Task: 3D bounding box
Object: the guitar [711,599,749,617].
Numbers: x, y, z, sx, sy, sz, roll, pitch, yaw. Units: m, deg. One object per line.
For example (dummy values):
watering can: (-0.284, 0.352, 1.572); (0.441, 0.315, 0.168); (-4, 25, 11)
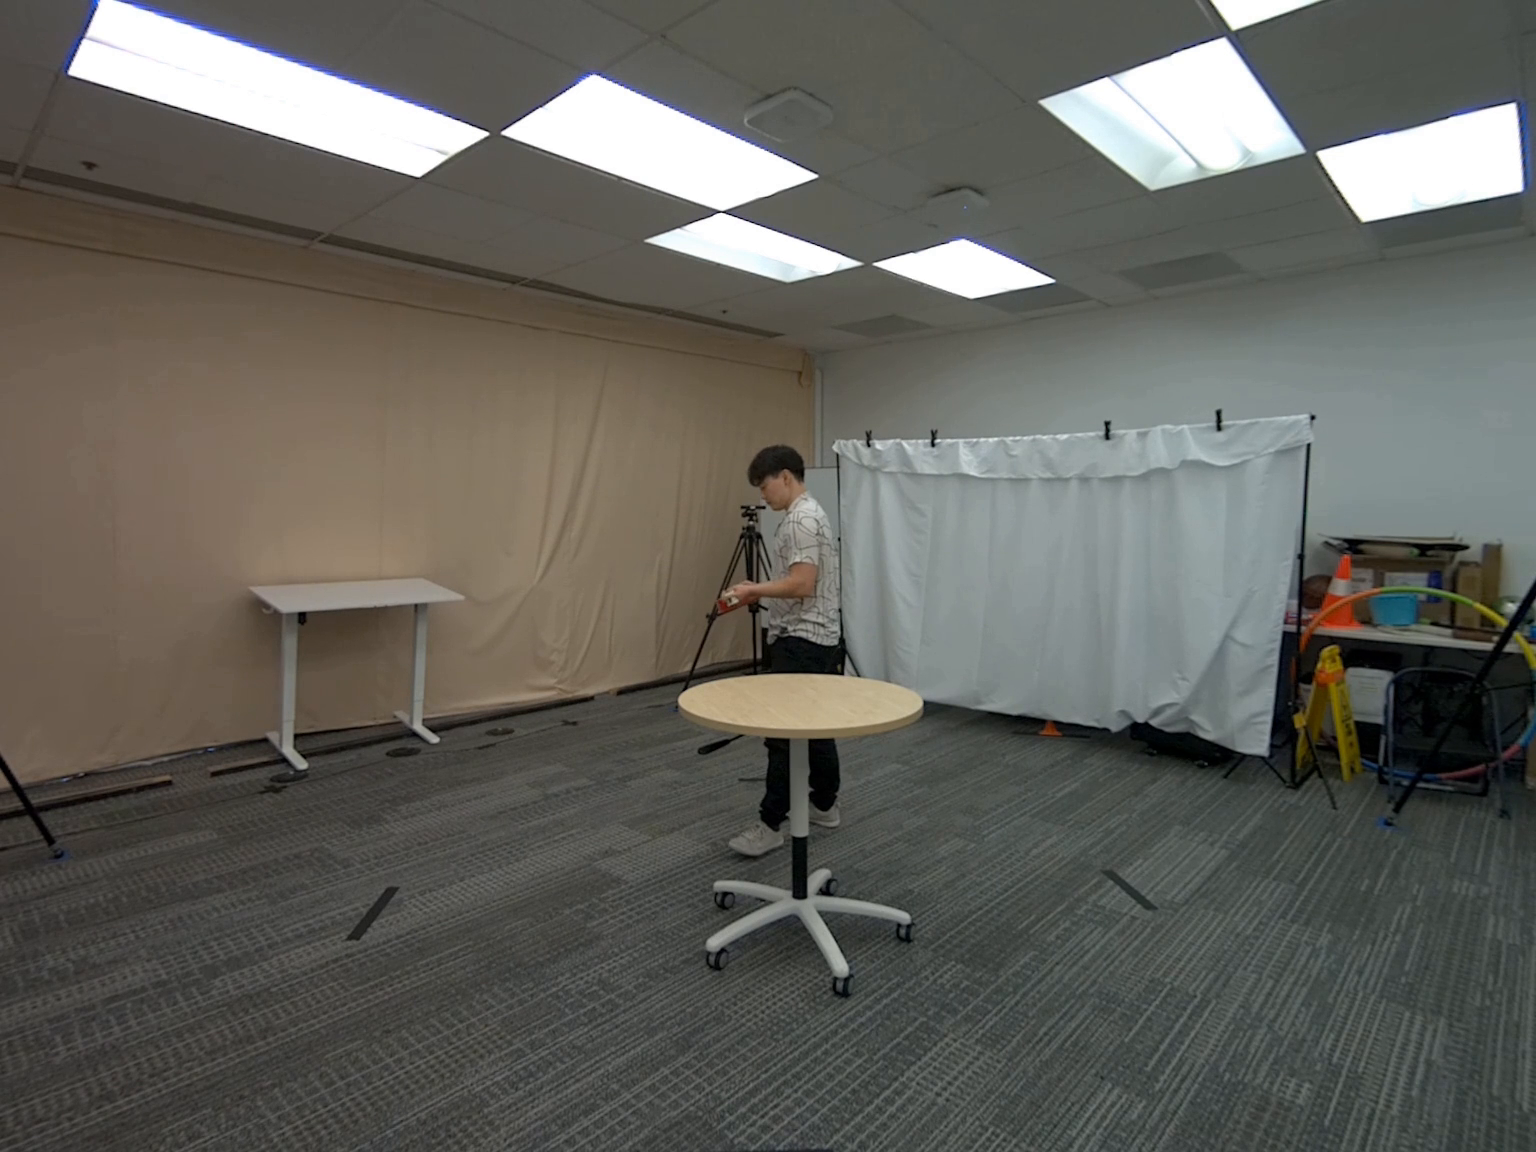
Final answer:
guitar: (-0.163, 0.115, 3.542); (0.195, 0.071, 0.492); (-21, 0, 13)
